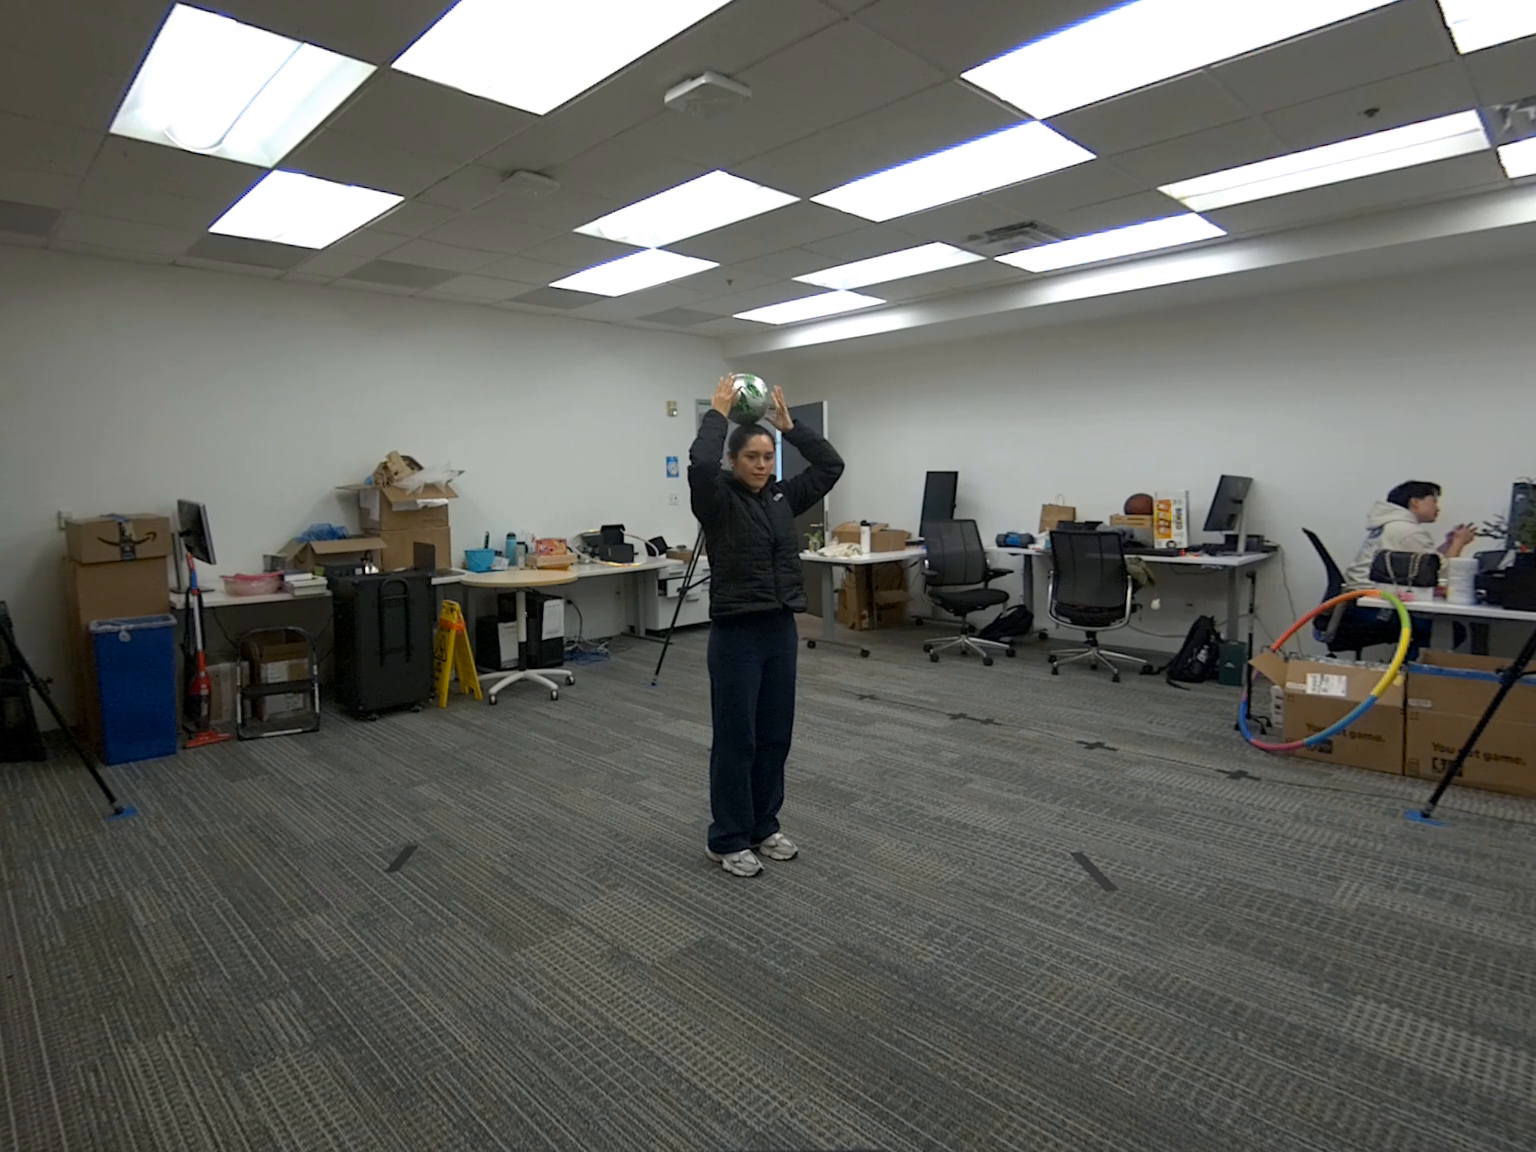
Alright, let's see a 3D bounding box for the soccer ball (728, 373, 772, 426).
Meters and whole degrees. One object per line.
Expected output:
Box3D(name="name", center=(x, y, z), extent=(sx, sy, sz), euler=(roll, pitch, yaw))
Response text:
Box3D(name="soccer ball", center=(-0.082, -0.646, 3.124), extent=(0.187, 0.187, 0.188), euler=(-1, 5, -2))
